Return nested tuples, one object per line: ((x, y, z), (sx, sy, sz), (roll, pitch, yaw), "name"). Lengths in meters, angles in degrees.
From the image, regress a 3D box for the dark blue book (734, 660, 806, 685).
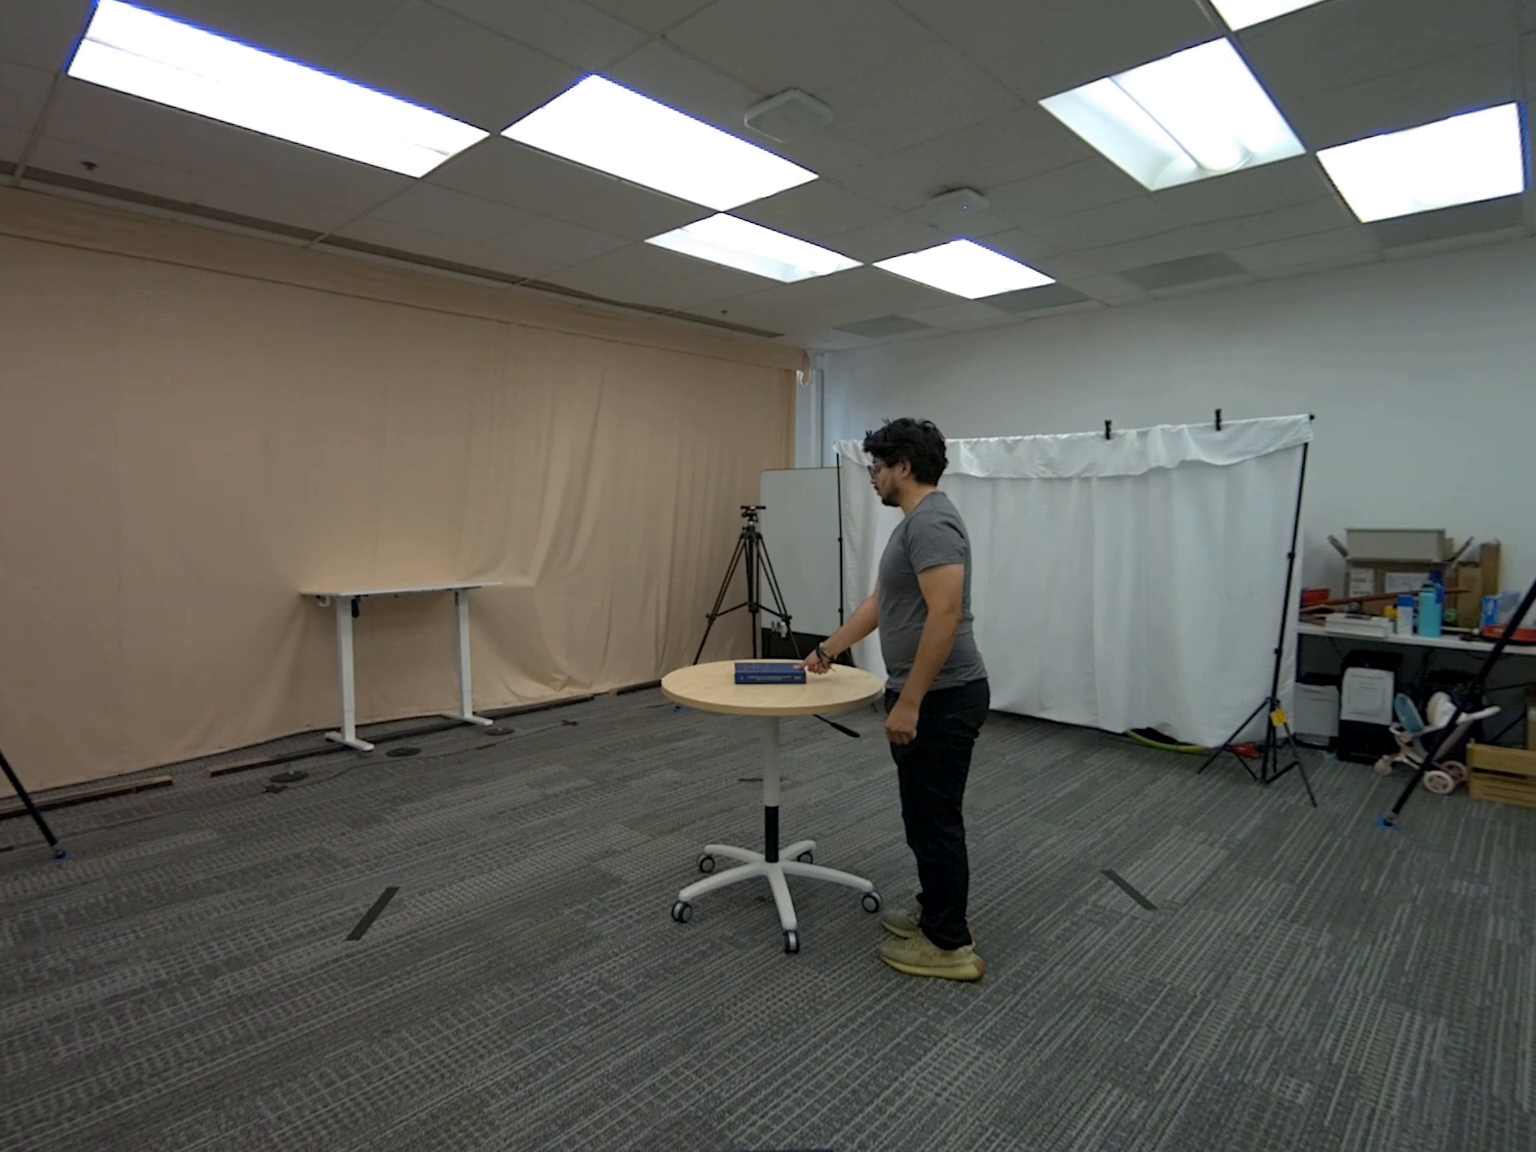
((0.003, 0.346, 2.944), (0.245, 0.045, 0.164), (0, 4, -1), "dark blue book")
